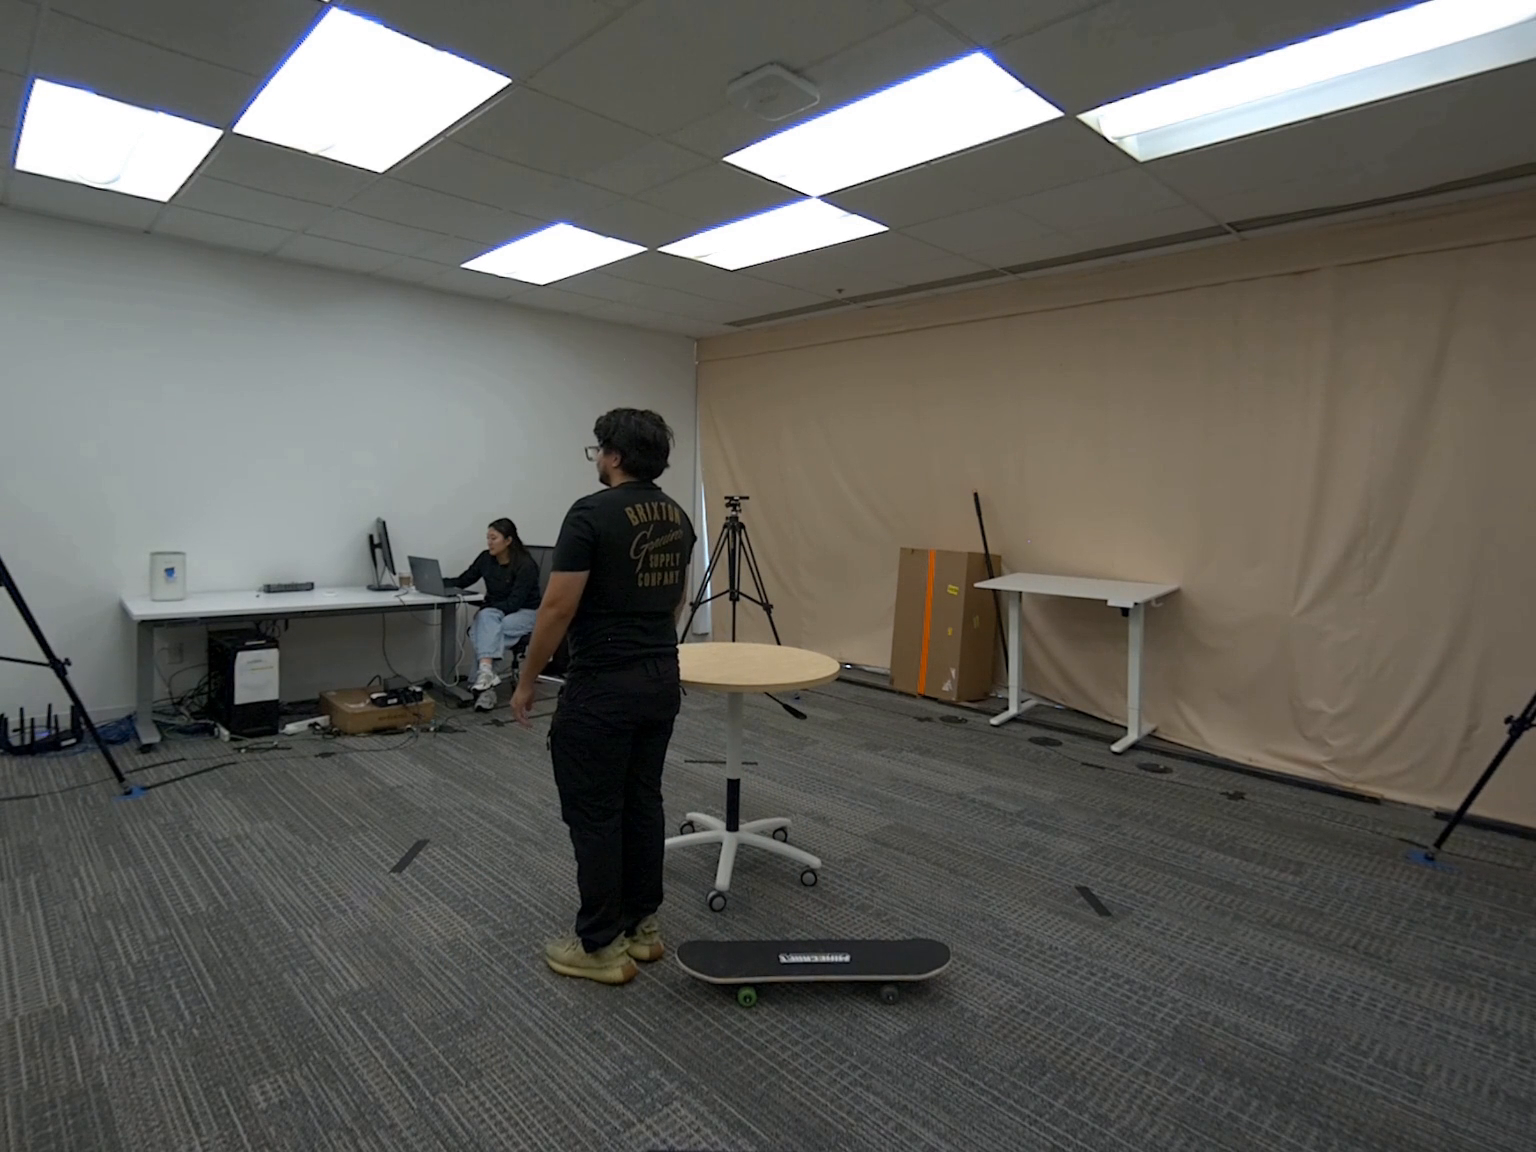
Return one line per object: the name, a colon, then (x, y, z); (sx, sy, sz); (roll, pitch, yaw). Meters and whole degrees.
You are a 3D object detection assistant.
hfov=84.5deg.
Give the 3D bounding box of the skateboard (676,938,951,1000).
skateboard: (0.128, 1.123, 2.392); (0.783, 0.110, 0.195); (1, 5, -4)
